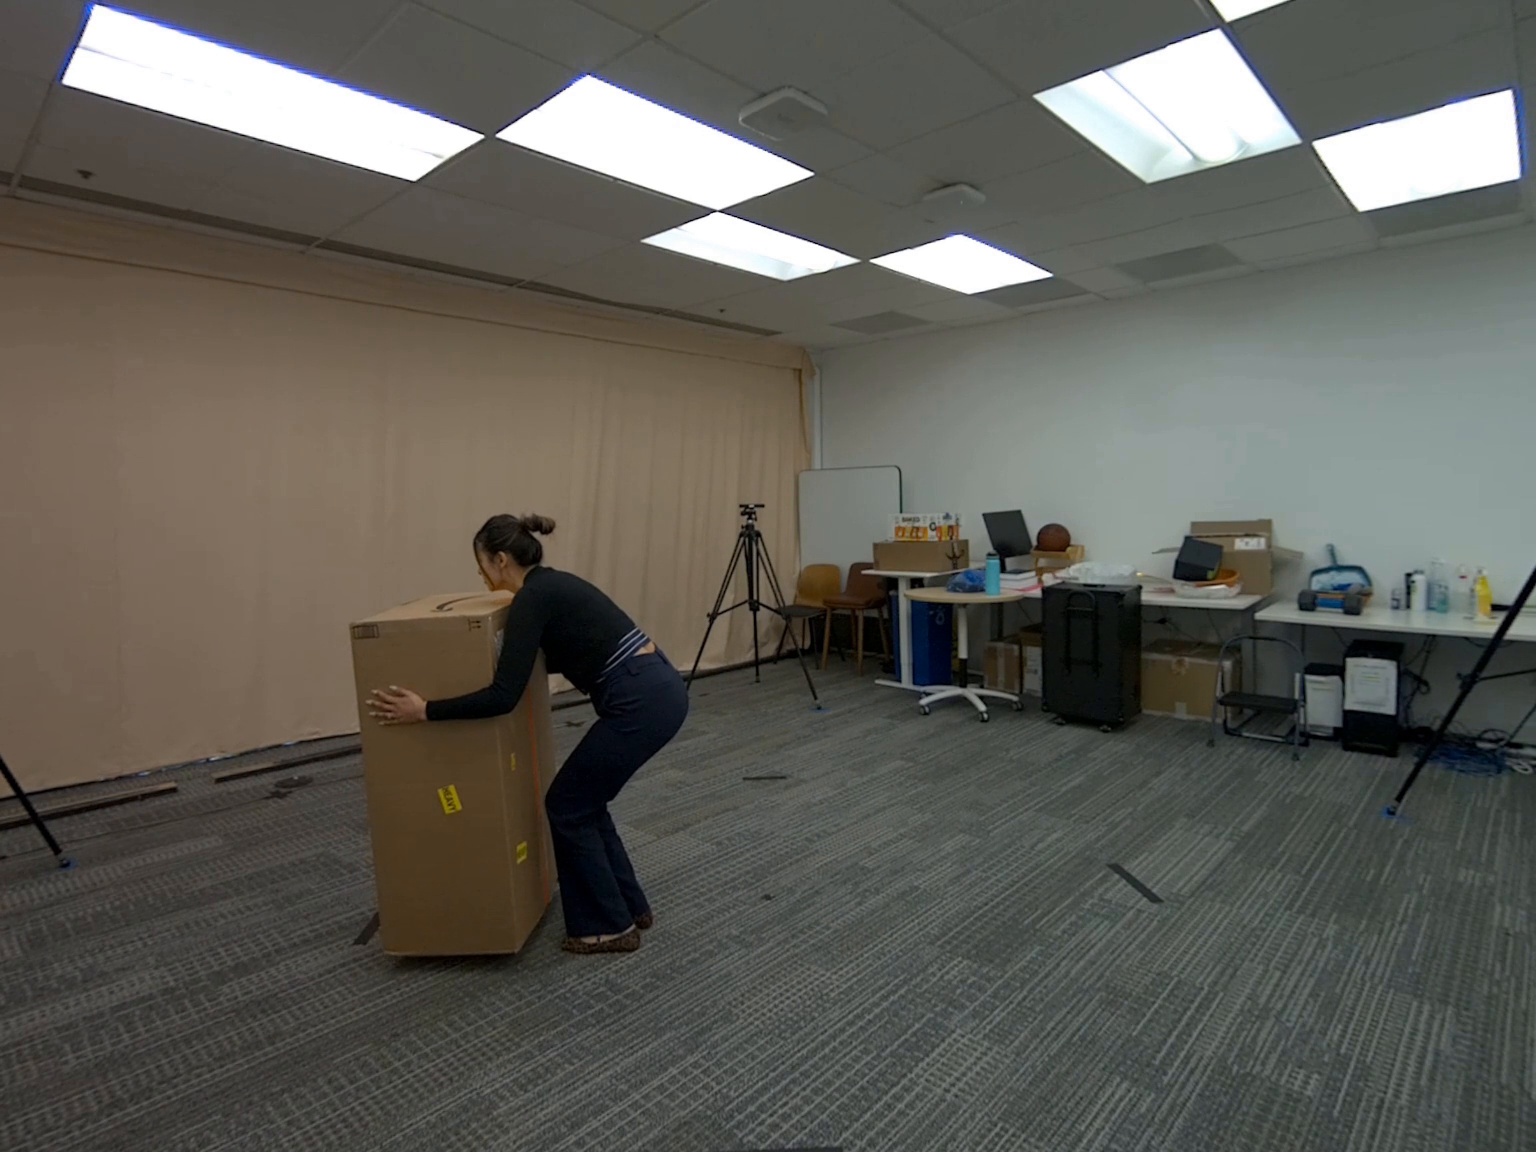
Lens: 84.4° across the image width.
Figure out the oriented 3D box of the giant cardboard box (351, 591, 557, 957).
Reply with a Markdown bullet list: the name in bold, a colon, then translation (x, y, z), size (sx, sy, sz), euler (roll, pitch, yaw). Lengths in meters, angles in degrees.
- **giant cardboard box**: translation (-0.988, 0.605, 2.766), size (0.427, 1.023, 0.578), euler (-4, 4, 0)
